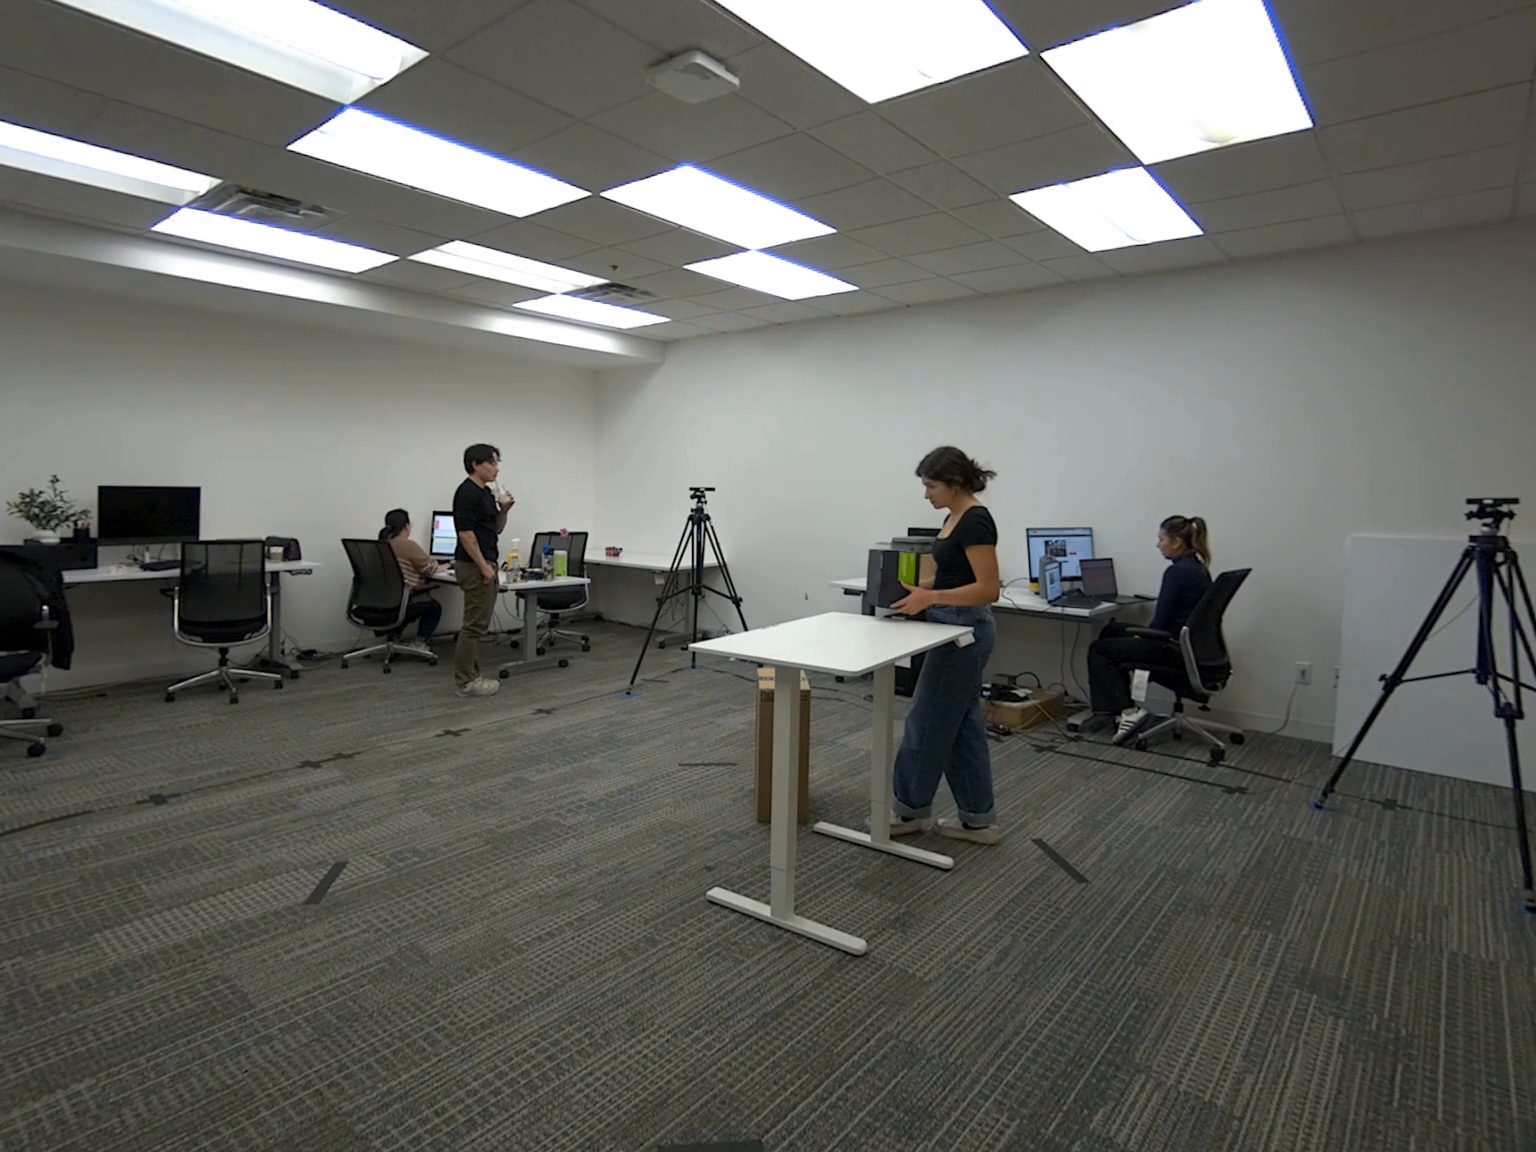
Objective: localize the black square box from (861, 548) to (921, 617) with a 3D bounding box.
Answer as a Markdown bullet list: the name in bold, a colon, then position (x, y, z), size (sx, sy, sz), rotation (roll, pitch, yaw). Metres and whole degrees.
- **black square box**: position (0.490, 0.003, 3.420), size (0.155, 0.227, 0.219), rotation (3, 3, -7)
